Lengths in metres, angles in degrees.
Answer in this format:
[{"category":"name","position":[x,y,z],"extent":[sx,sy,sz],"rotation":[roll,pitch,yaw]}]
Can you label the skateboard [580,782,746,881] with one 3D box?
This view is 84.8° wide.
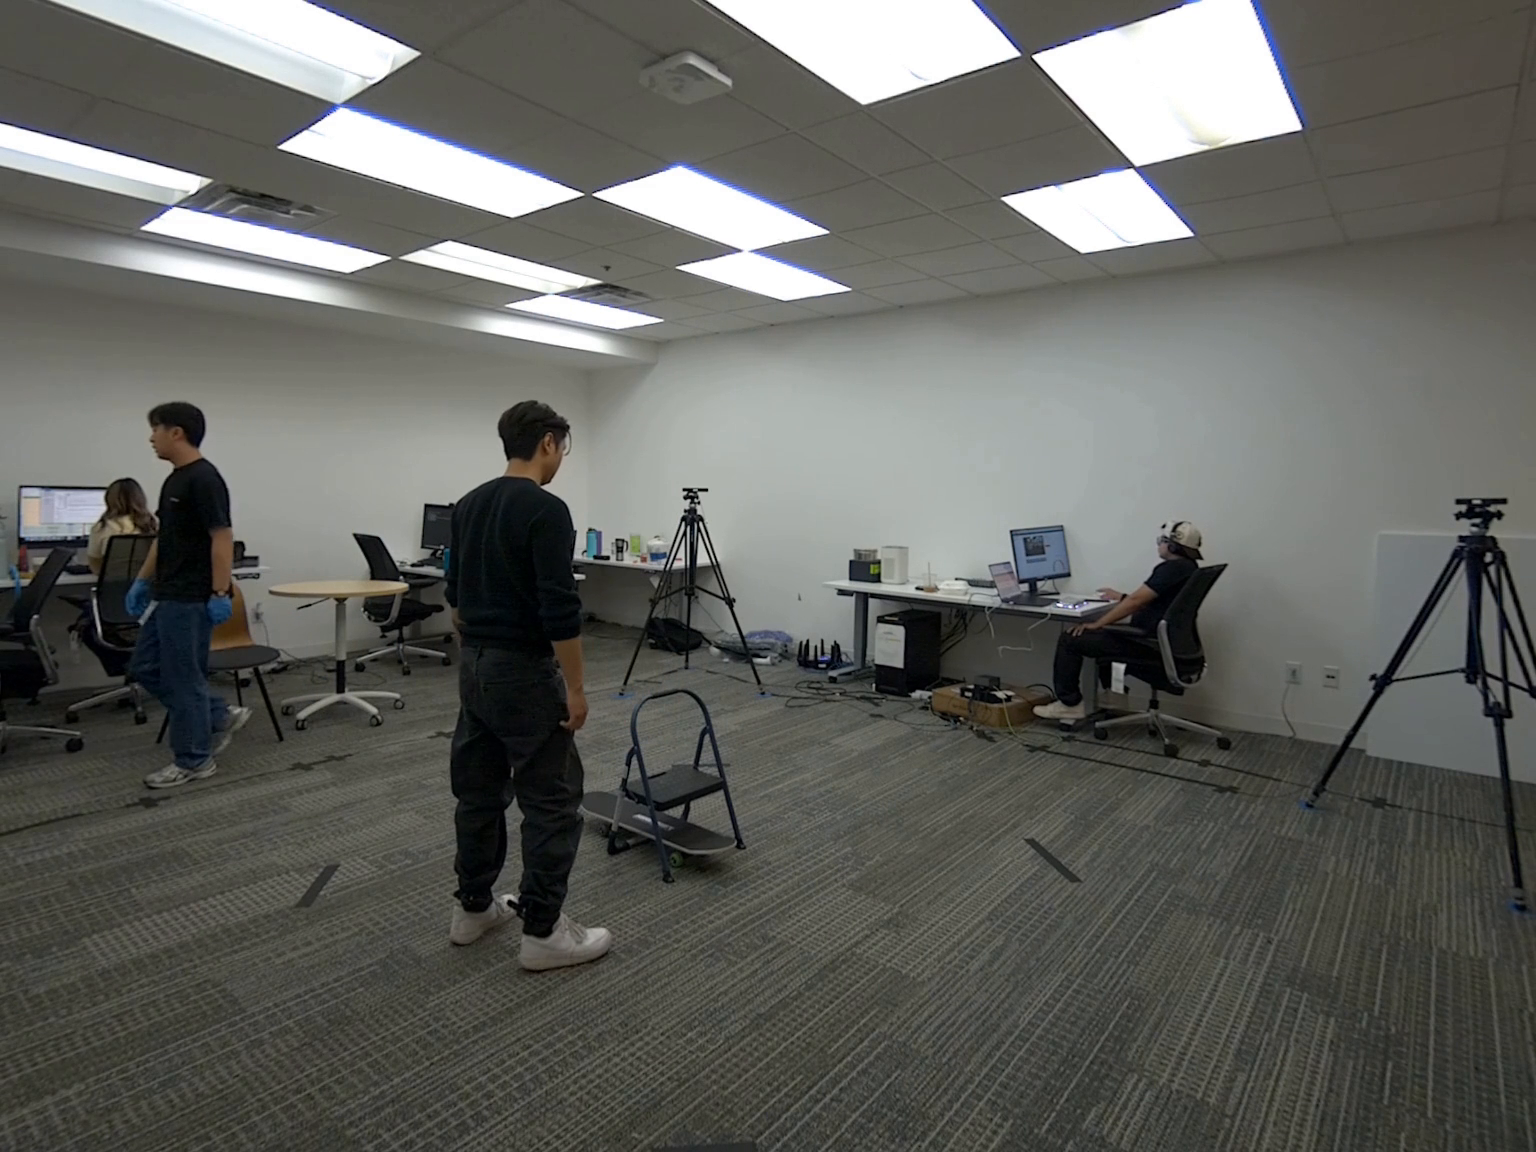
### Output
[{"category":"skateboard","position":[-0.458,0.983,3.308],"extent":[0.812,0.110,0.188],"rotation":[6,7,39]}]
